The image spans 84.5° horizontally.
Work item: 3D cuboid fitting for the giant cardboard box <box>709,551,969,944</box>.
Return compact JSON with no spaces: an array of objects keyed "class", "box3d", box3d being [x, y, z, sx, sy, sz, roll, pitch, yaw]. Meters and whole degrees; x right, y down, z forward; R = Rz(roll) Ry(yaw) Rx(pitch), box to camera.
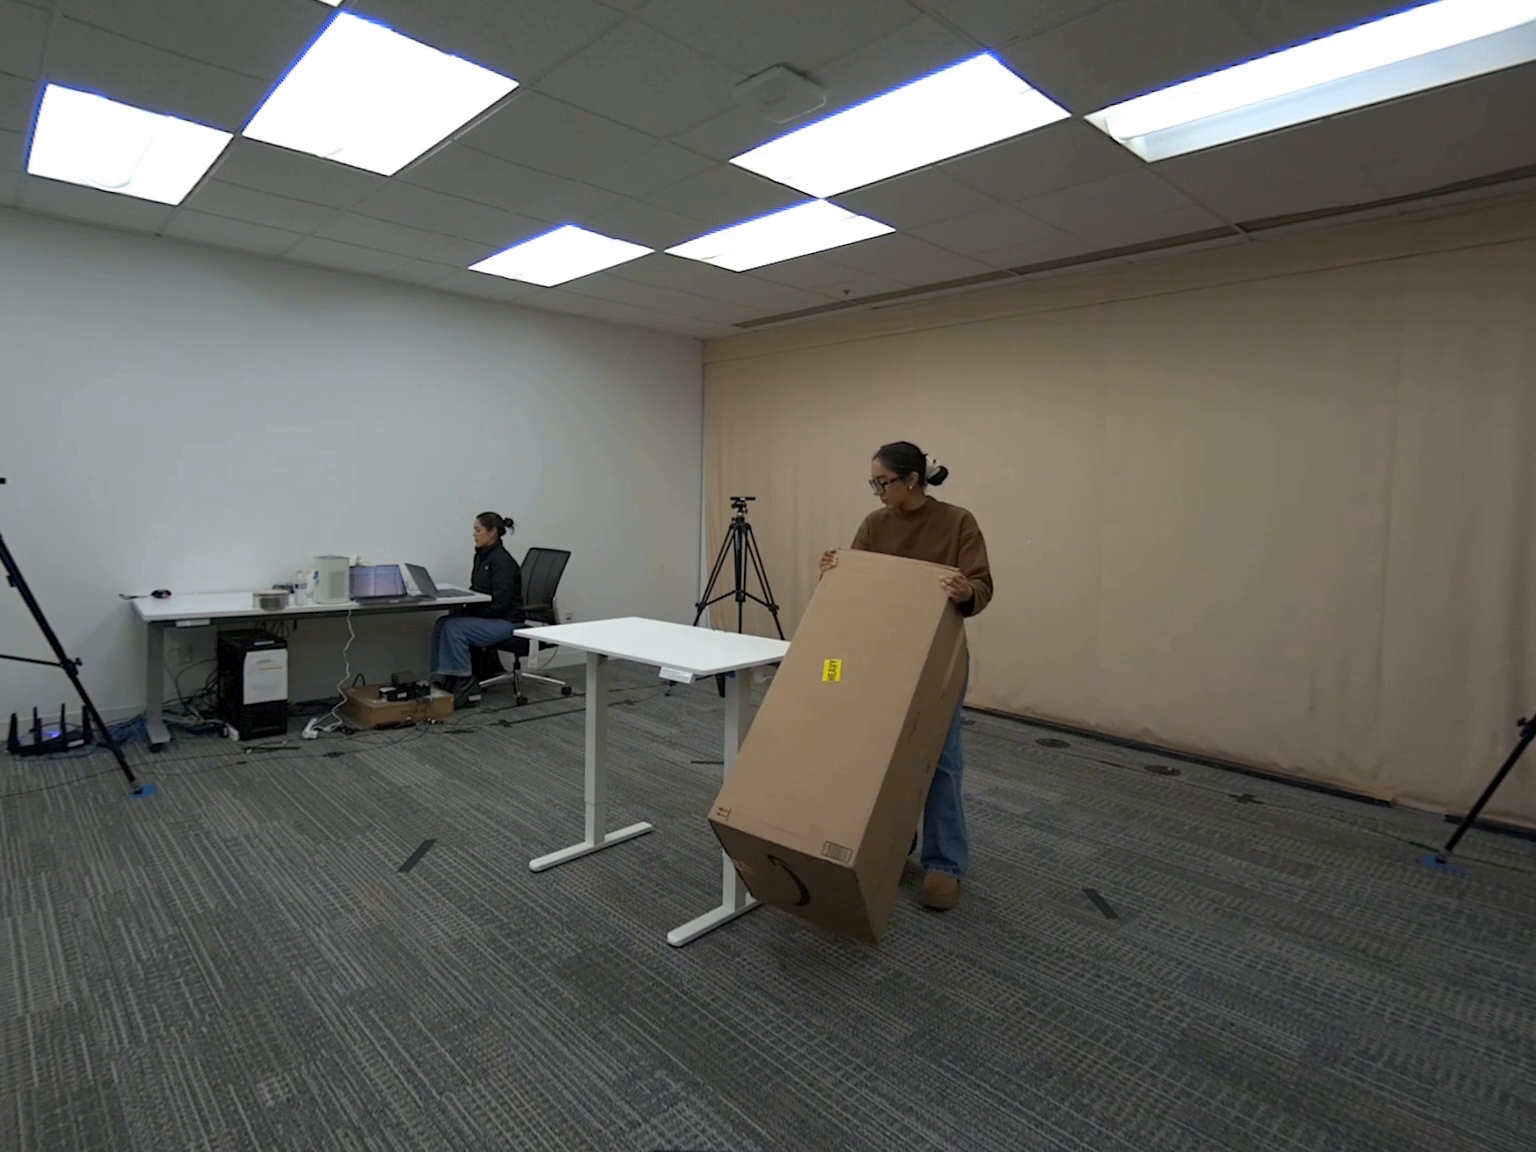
[{"class":"giant cardboard box","box3d":[0.276,0.511,2.669,0.435,1.033,0.561,10,-38,25]}]
